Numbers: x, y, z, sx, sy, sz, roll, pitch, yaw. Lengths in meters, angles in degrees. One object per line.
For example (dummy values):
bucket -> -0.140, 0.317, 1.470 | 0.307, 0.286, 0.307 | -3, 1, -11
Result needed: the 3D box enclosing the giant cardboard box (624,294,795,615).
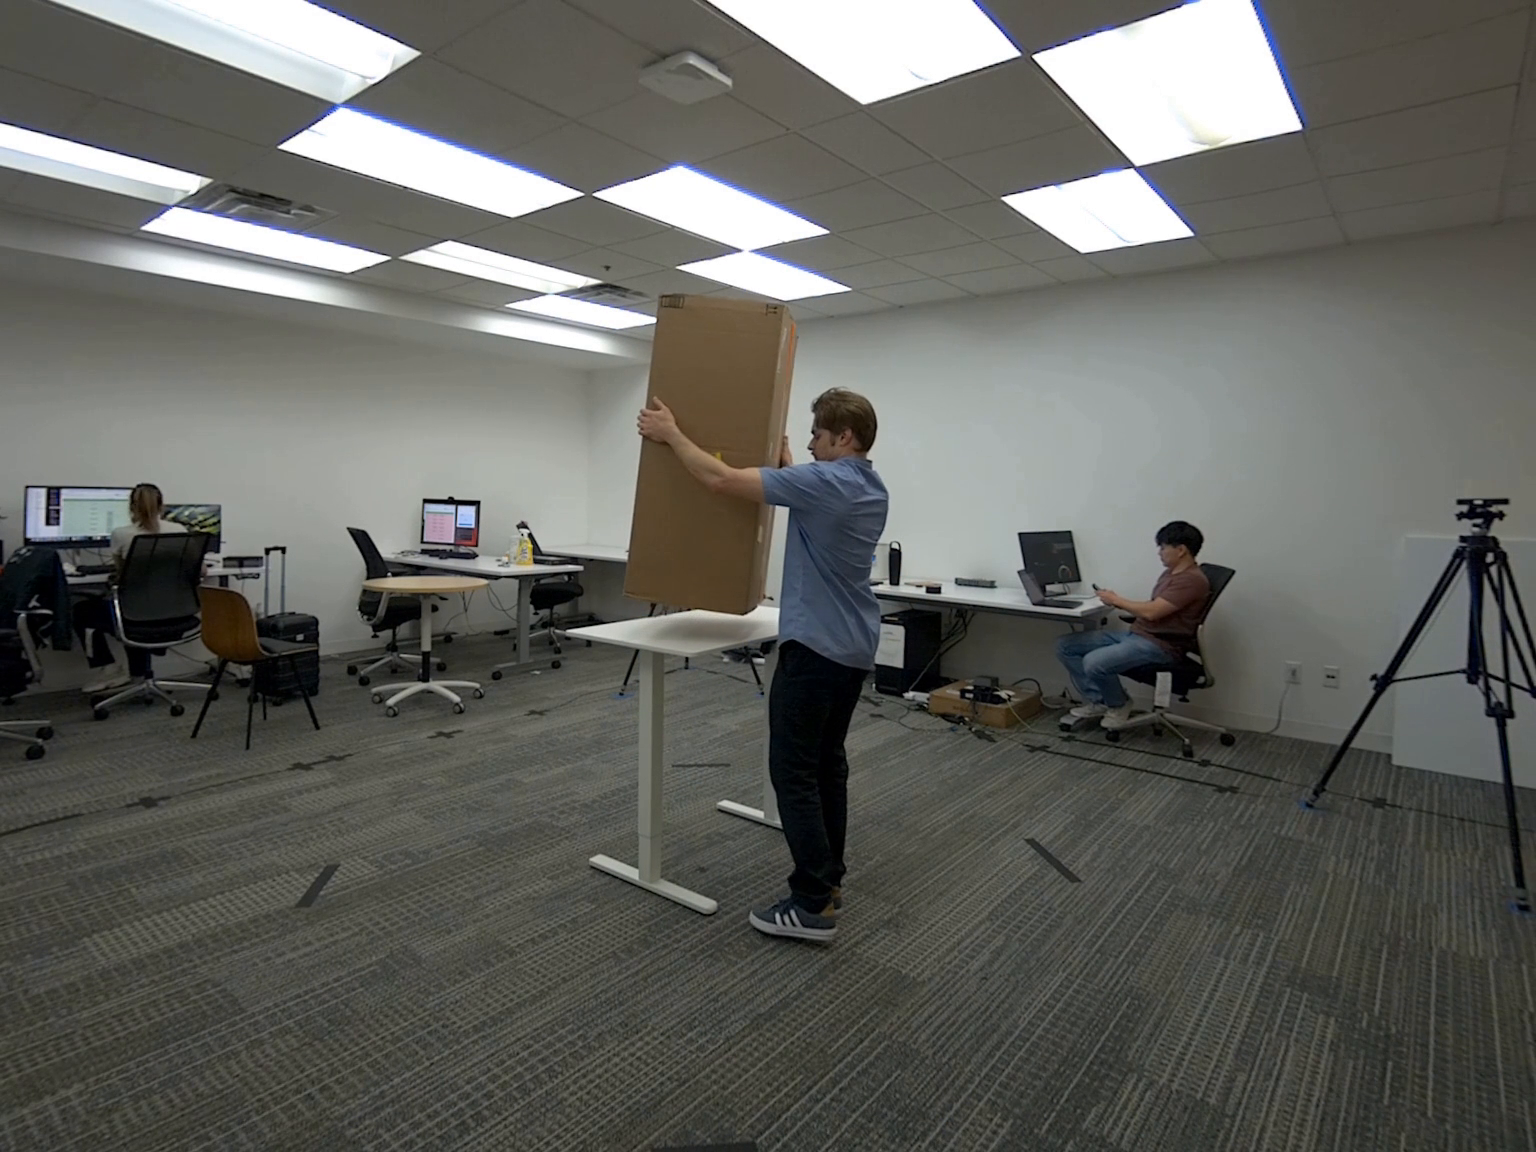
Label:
giant cardboard box -> -0.193, -0.423, 3.061 | 0.431, 1.023, 0.573 | 7, 3, 8
